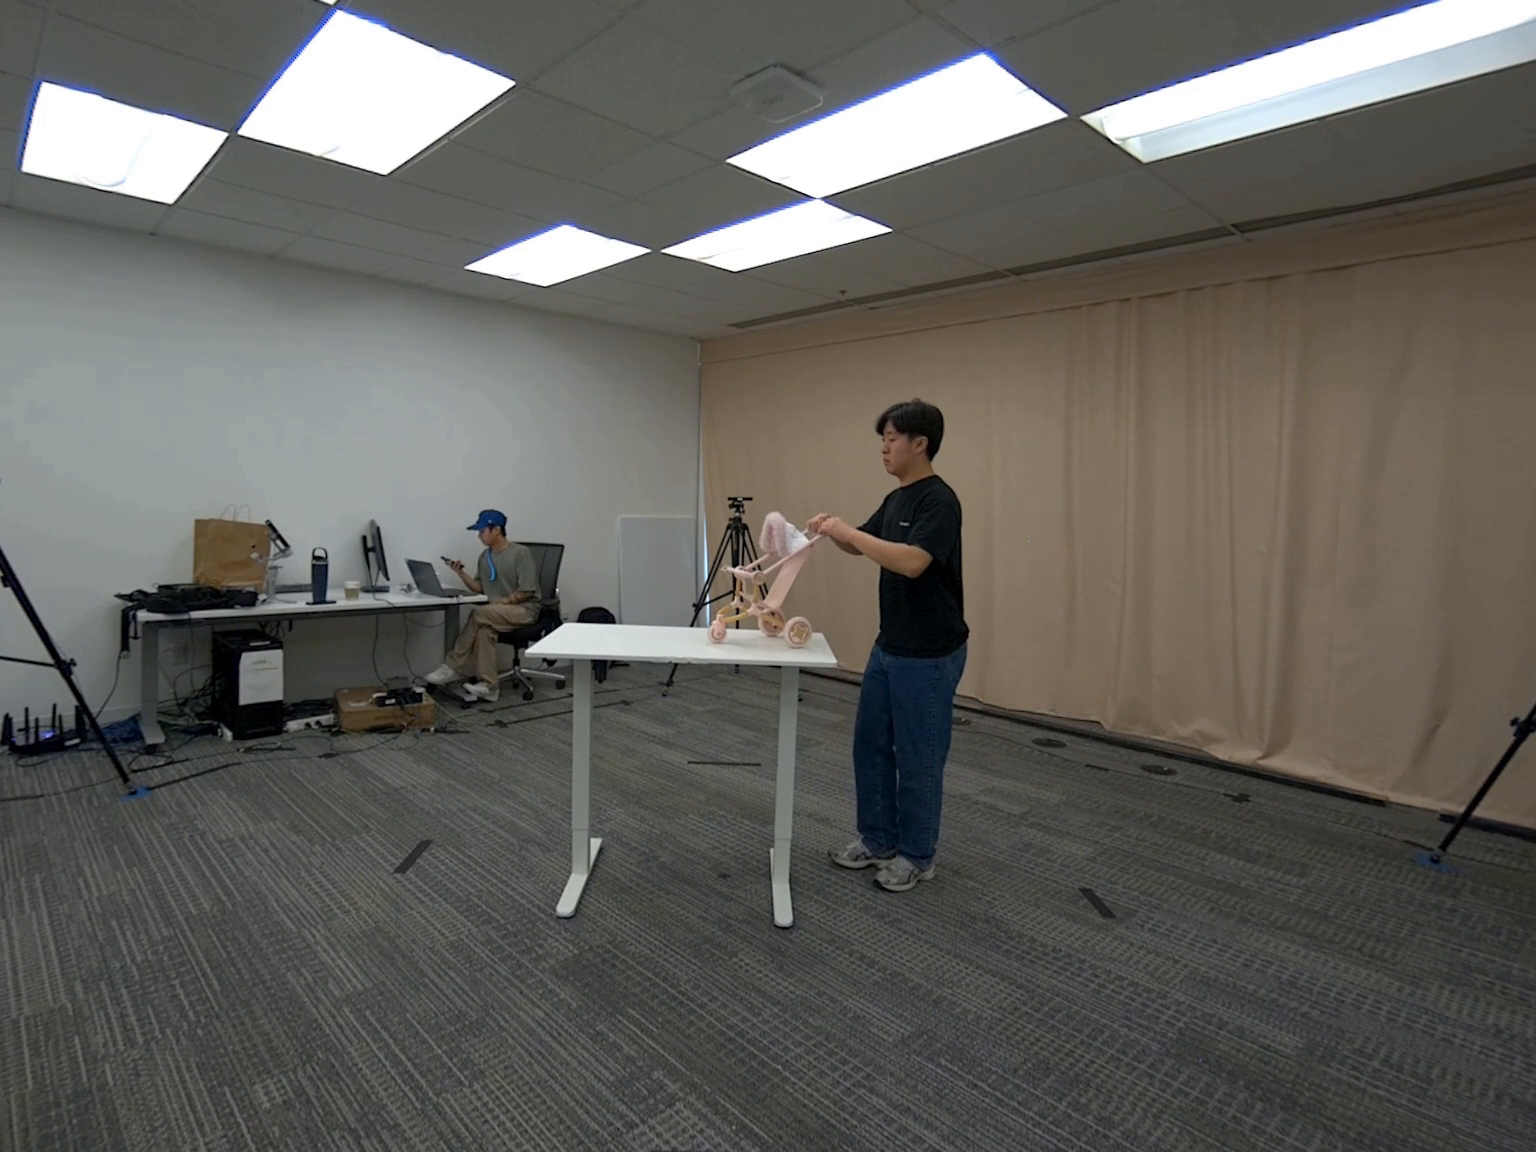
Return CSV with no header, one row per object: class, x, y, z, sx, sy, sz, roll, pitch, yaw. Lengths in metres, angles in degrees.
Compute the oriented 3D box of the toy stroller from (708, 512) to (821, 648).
toy stroller,-0.003,0.013,2.996,0.337,0.535,0.285,16,-1,-14
